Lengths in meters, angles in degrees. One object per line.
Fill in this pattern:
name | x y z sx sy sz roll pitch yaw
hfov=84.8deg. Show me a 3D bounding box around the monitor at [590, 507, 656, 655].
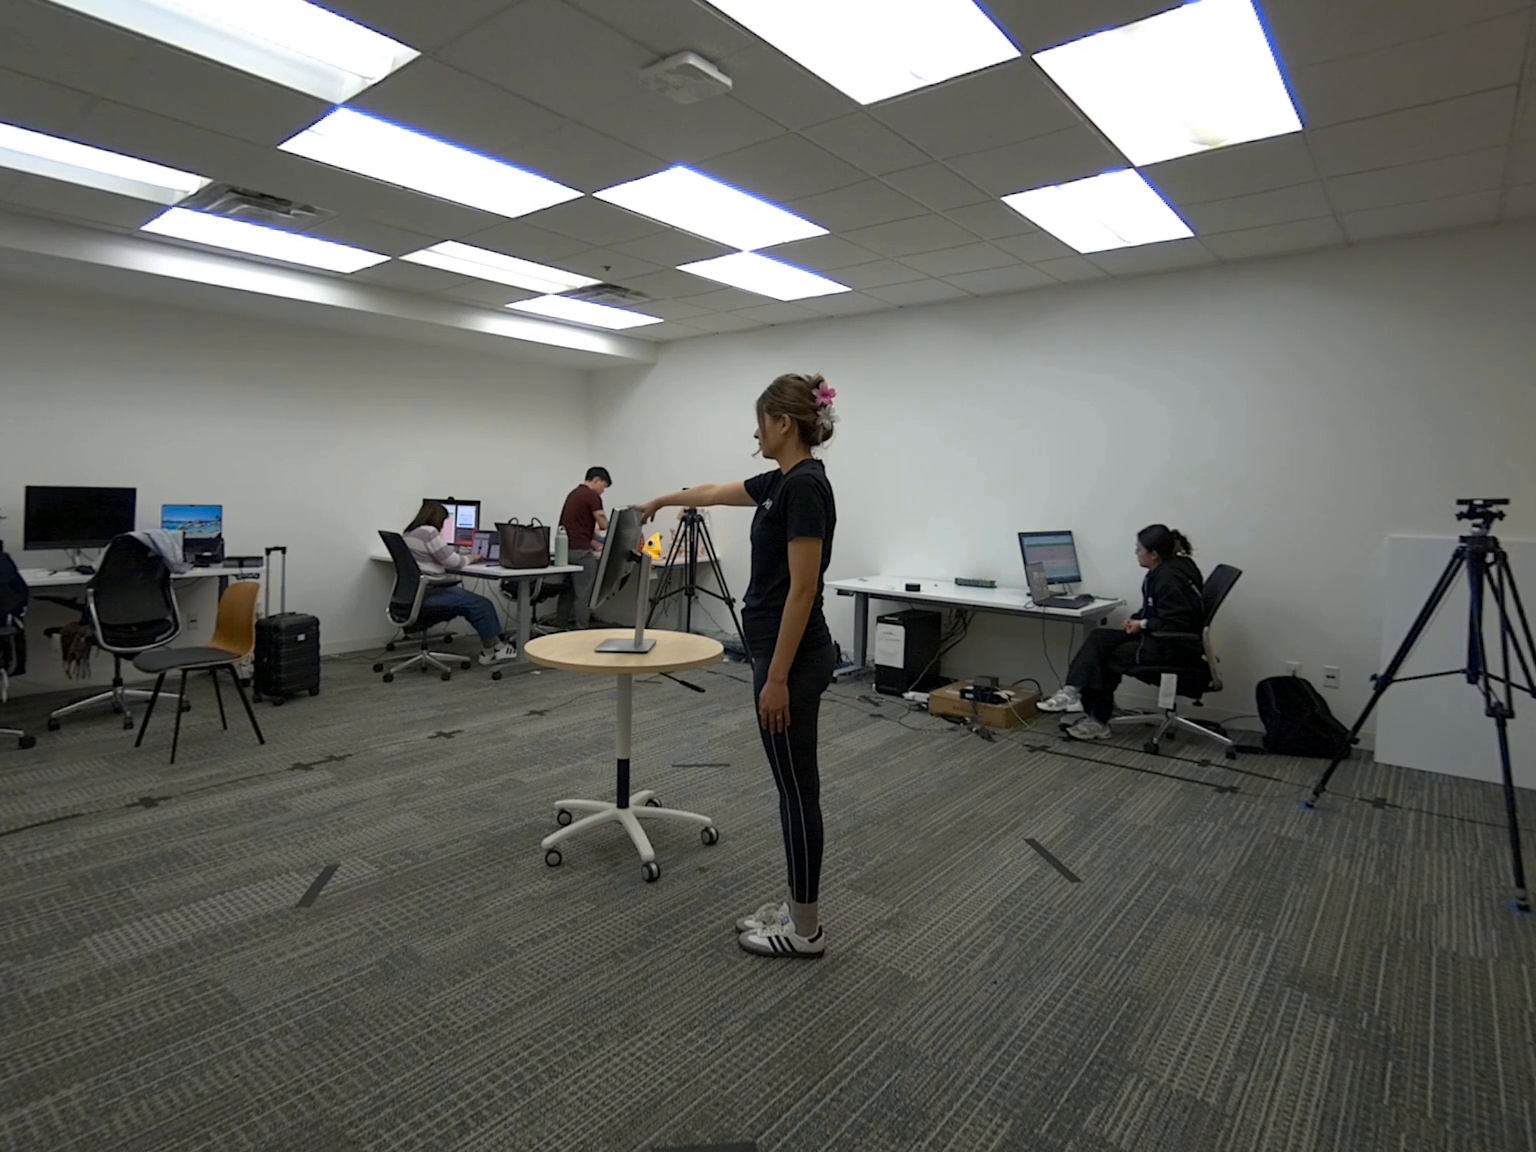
monitor | -0.544 0.010 3.244 0.187 0.520 0.541 1 5 -1
